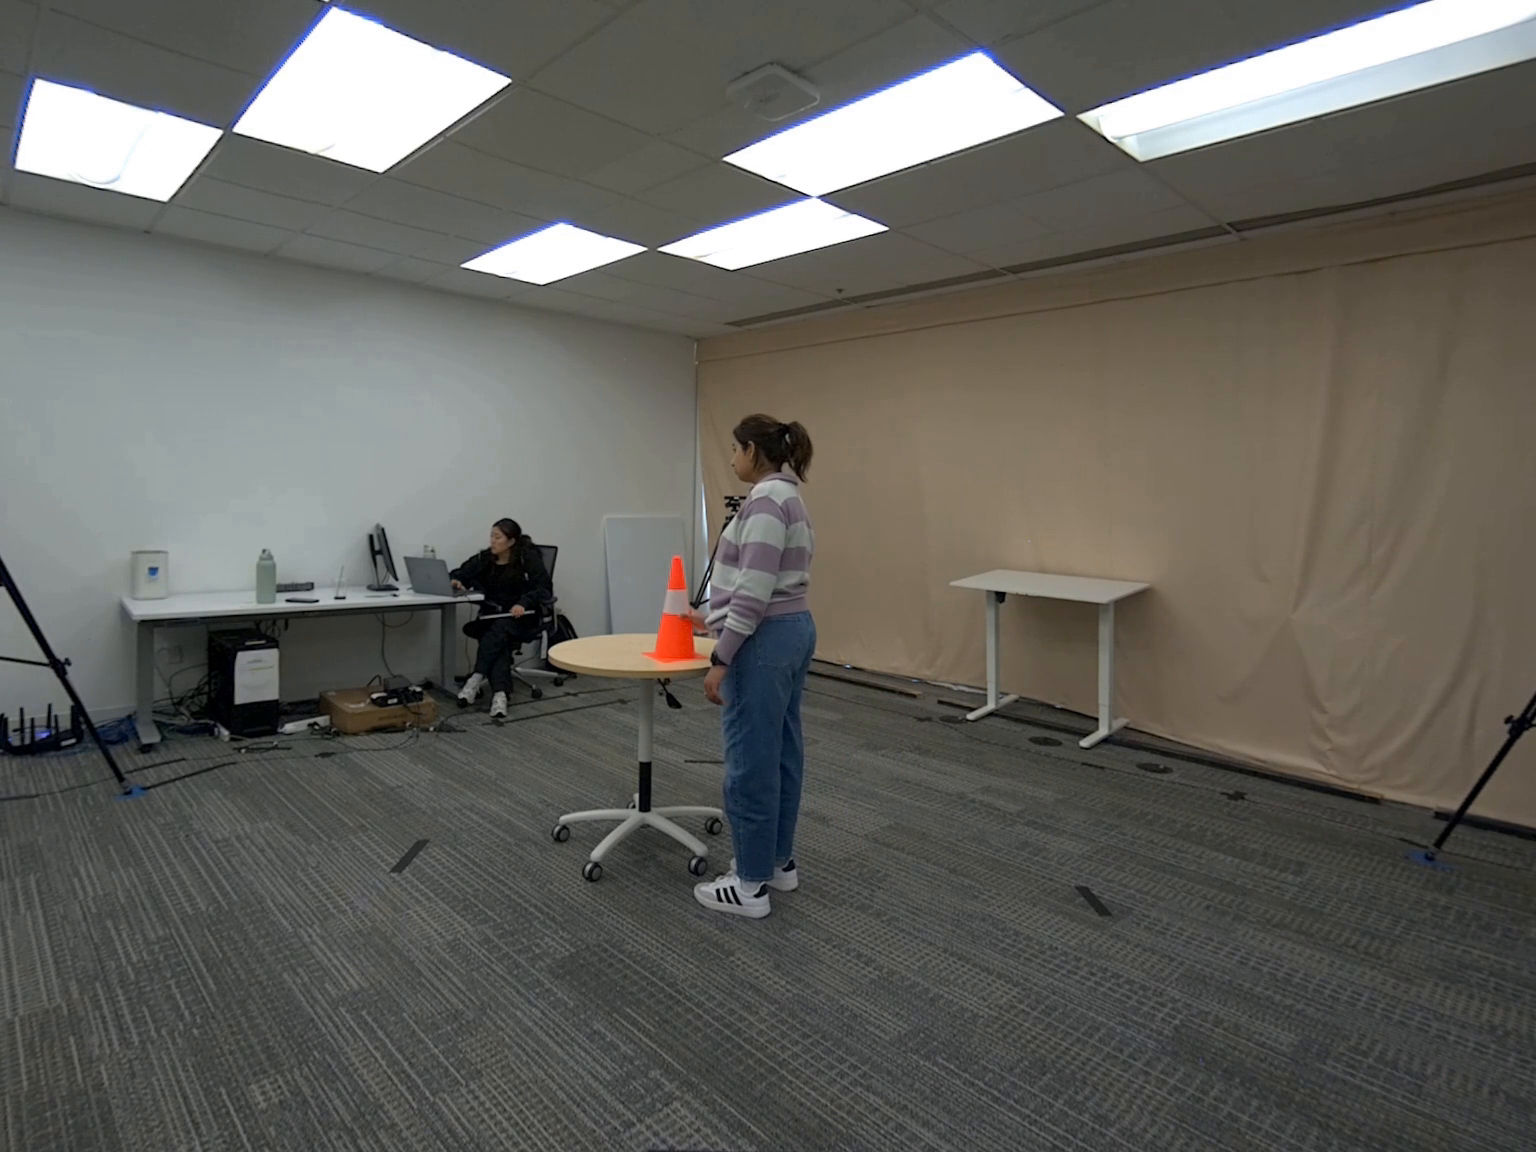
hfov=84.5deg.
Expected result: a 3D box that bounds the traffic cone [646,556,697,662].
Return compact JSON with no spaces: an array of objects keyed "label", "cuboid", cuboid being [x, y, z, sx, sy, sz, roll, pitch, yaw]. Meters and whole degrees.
[{"label":"traffic cone","cuboid":[-0.366,0.123,3.207,0.210,0.382,0.199,6,6,39]}]
